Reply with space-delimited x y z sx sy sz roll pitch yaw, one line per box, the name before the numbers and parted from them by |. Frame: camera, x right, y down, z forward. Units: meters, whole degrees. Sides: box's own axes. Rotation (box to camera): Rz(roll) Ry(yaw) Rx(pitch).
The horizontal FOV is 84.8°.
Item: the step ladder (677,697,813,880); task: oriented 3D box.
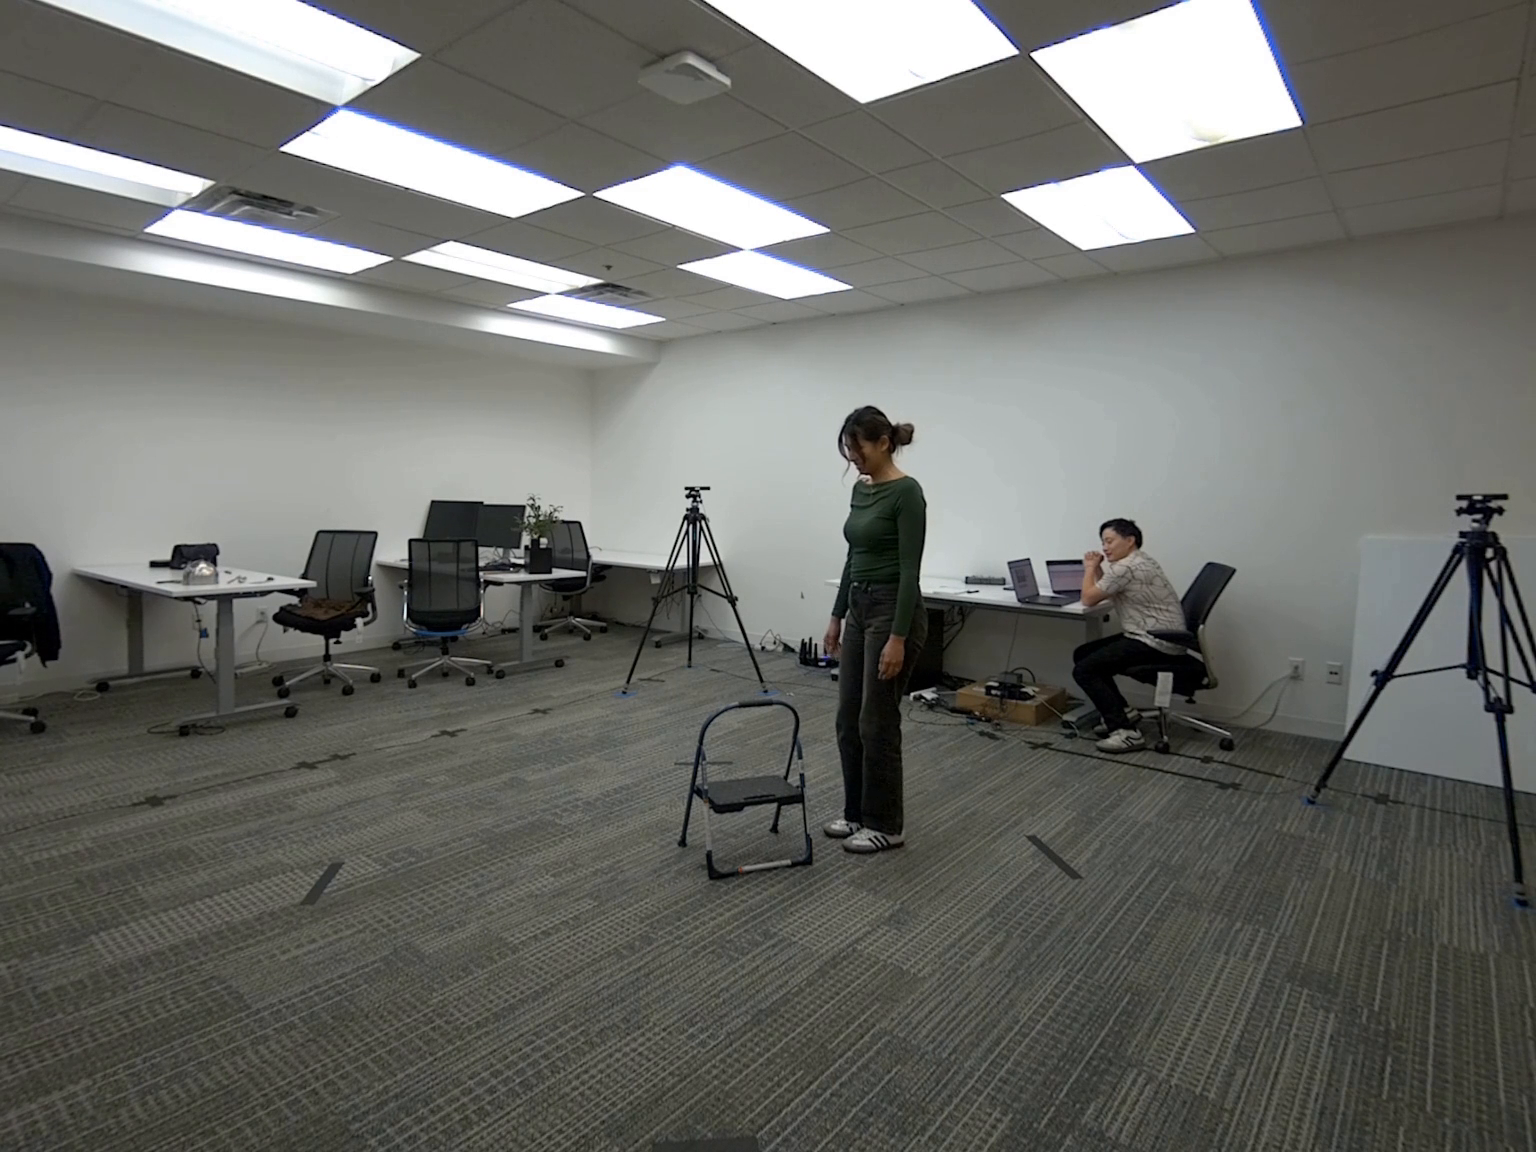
step ladder | -0.094 0.752 3.226 0.421 0.604 0.358 -1 4 -23
